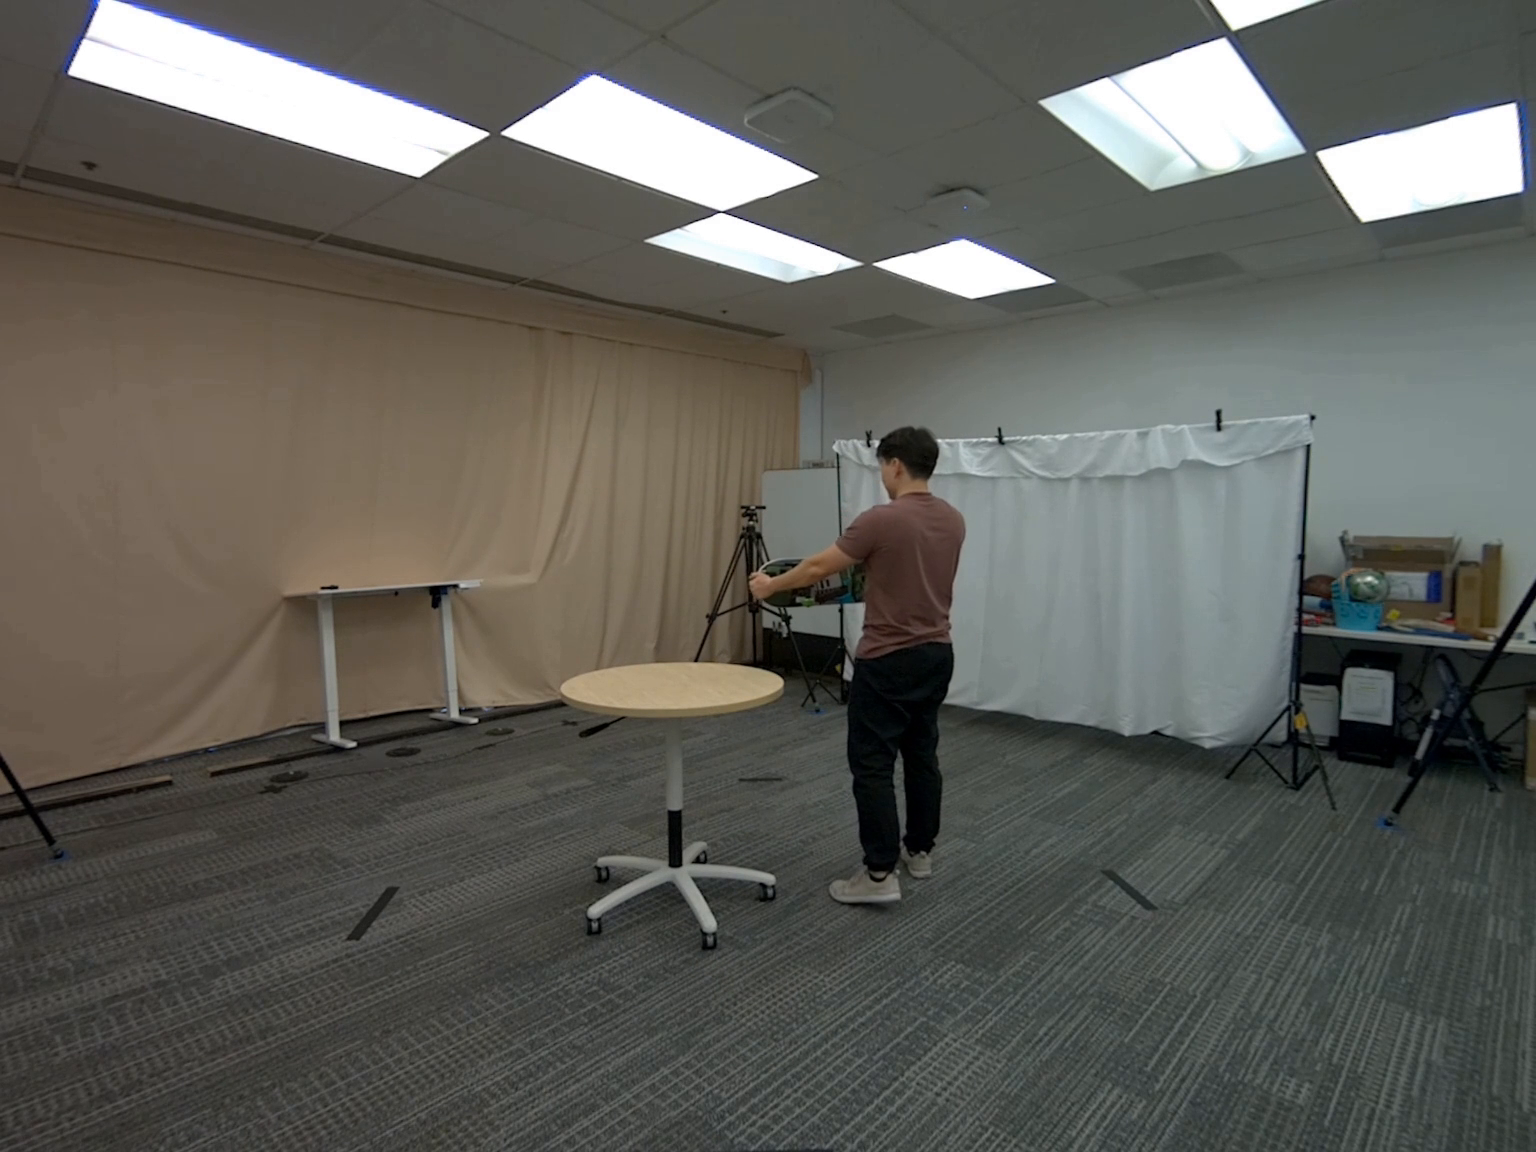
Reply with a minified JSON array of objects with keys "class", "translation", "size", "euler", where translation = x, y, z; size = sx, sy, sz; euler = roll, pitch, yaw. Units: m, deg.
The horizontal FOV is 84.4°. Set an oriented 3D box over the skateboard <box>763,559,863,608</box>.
[{"class":"skateboard","translation":[0.301,0.023,3.438],"size":[0.764,0.193,0.113],"euler":[-2,3,-31]}]
